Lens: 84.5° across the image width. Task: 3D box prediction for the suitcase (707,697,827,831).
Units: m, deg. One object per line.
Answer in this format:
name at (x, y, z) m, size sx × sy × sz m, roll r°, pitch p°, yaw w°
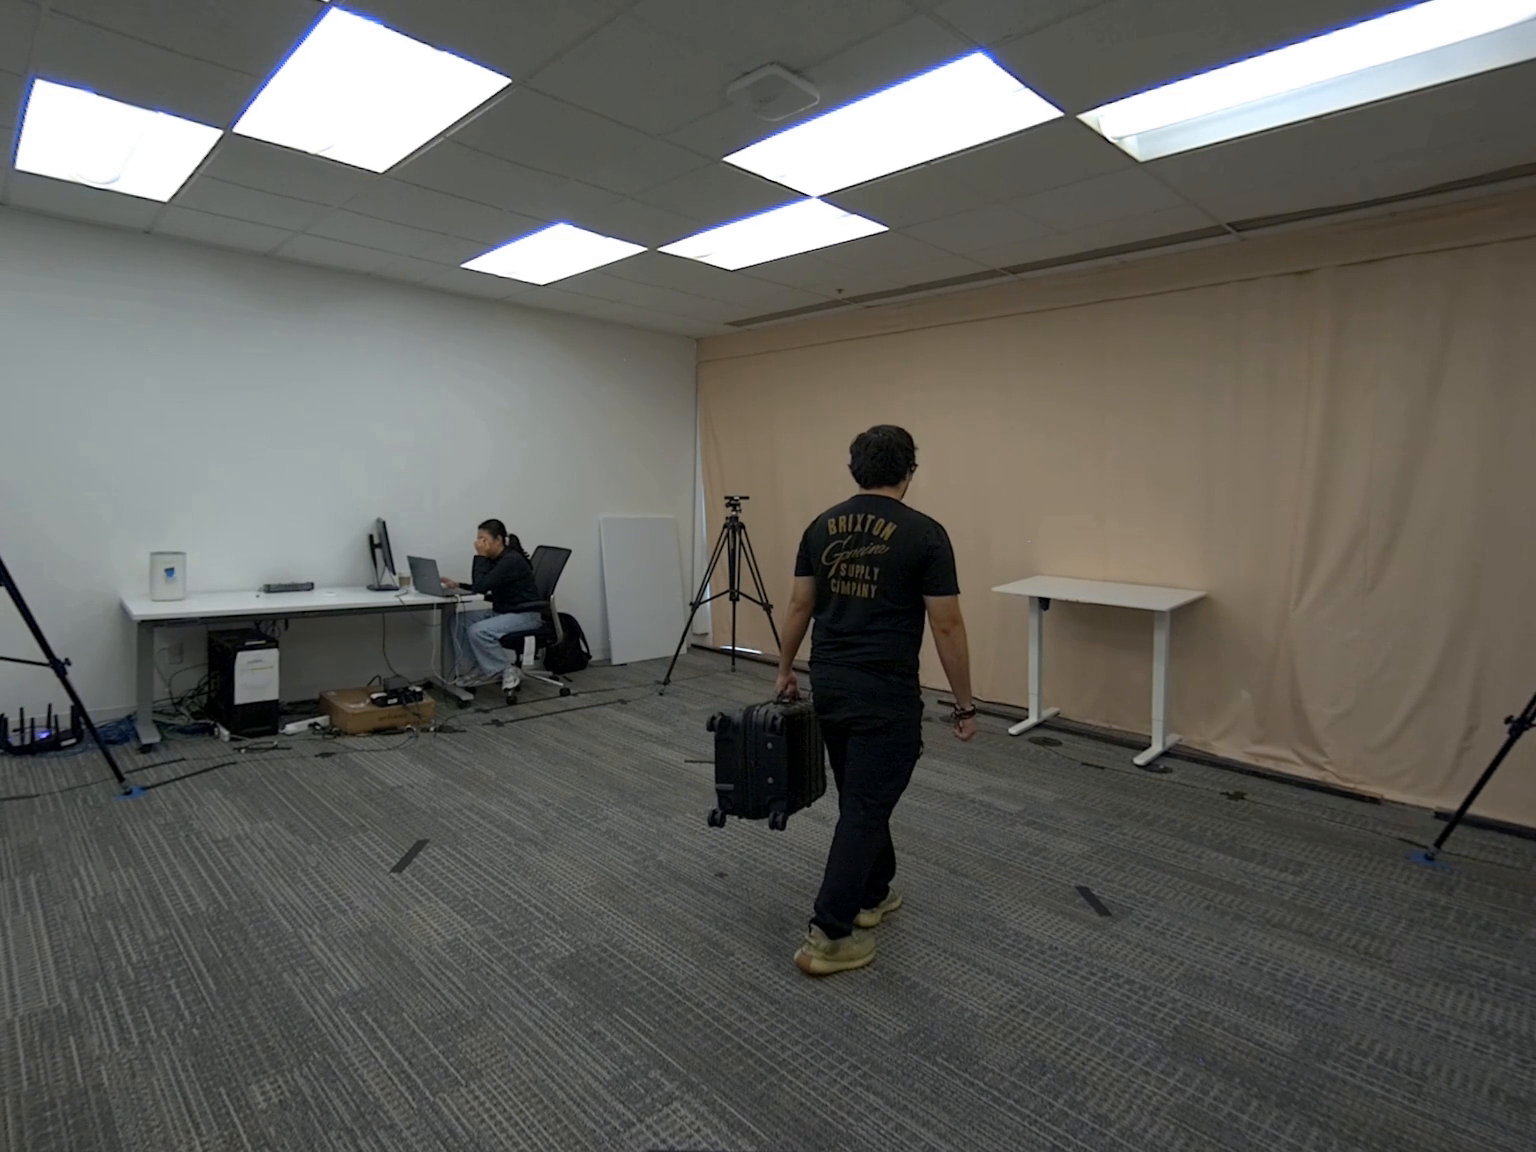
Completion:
suitcase at (0.078, 0.624, 3.056) m, size 0.261 × 0.386 × 0.960 m, roll -3°, pitch -6°, yaw 19°
